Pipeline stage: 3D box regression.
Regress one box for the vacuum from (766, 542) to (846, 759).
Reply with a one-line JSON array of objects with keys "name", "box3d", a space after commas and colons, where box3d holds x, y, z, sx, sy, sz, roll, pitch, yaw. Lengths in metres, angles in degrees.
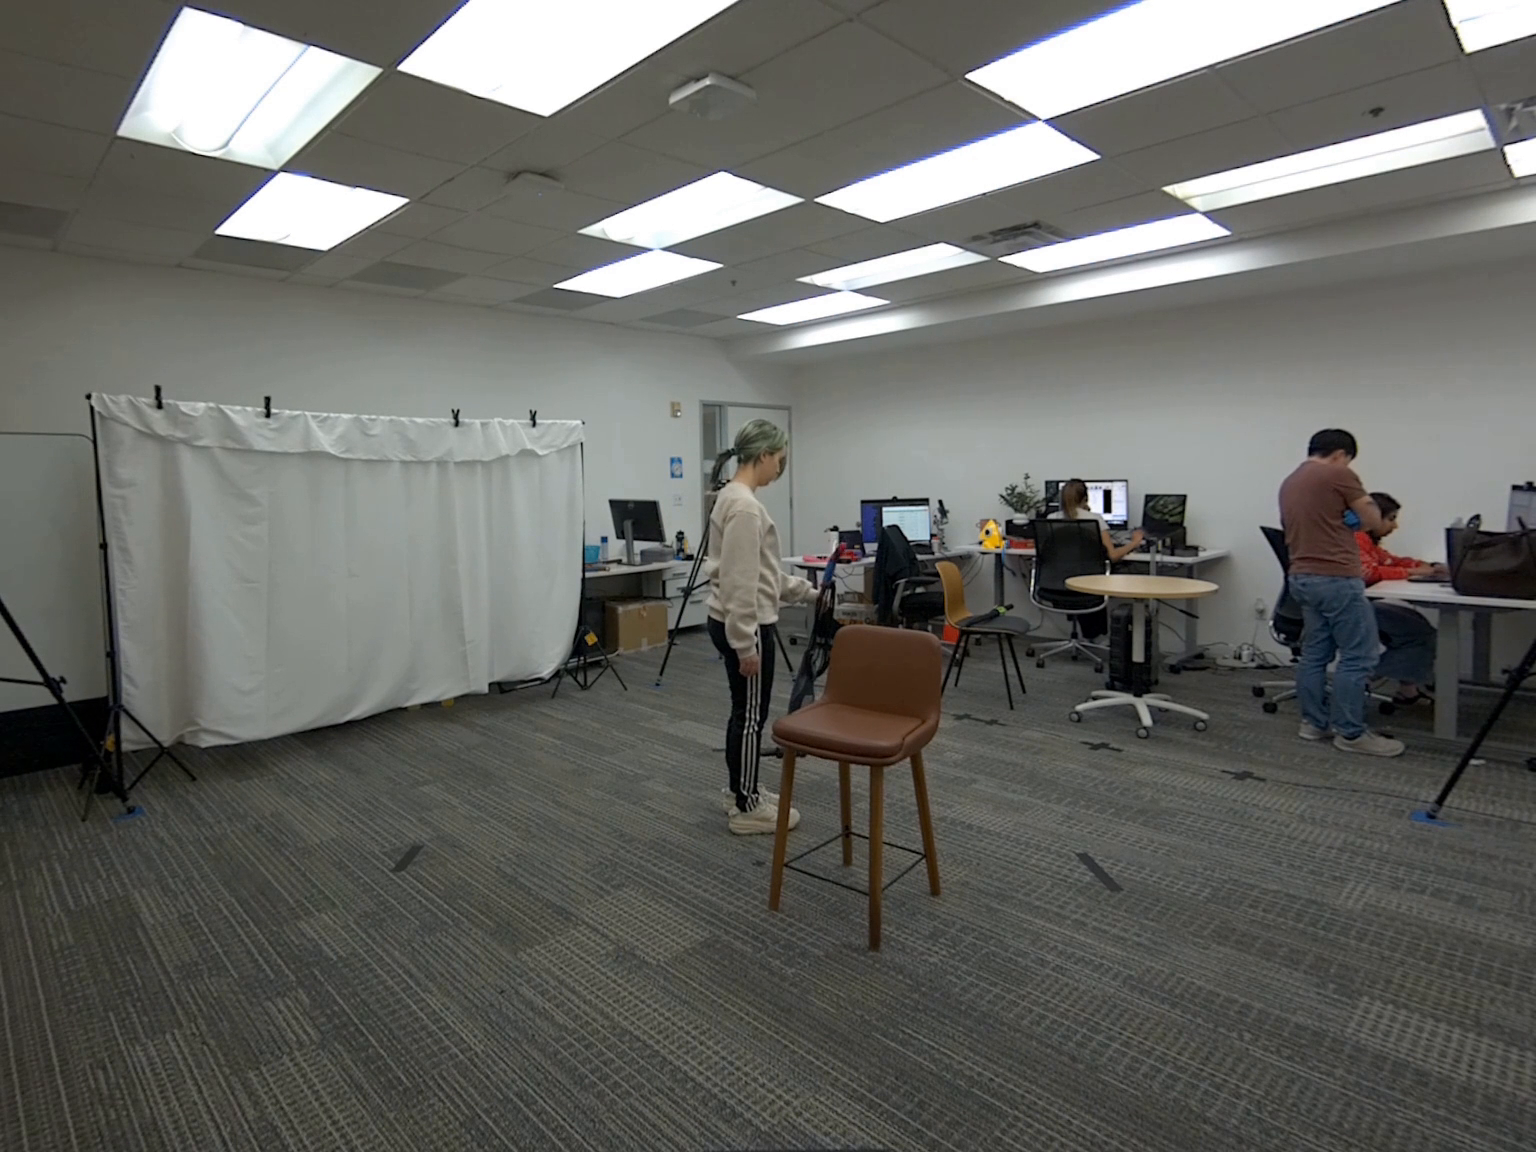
[{"name": "vacuum", "box3d": [0.200, 0.331, 3.602, 0.247, 1.034, 0.149, 2, 26, -25]}]
